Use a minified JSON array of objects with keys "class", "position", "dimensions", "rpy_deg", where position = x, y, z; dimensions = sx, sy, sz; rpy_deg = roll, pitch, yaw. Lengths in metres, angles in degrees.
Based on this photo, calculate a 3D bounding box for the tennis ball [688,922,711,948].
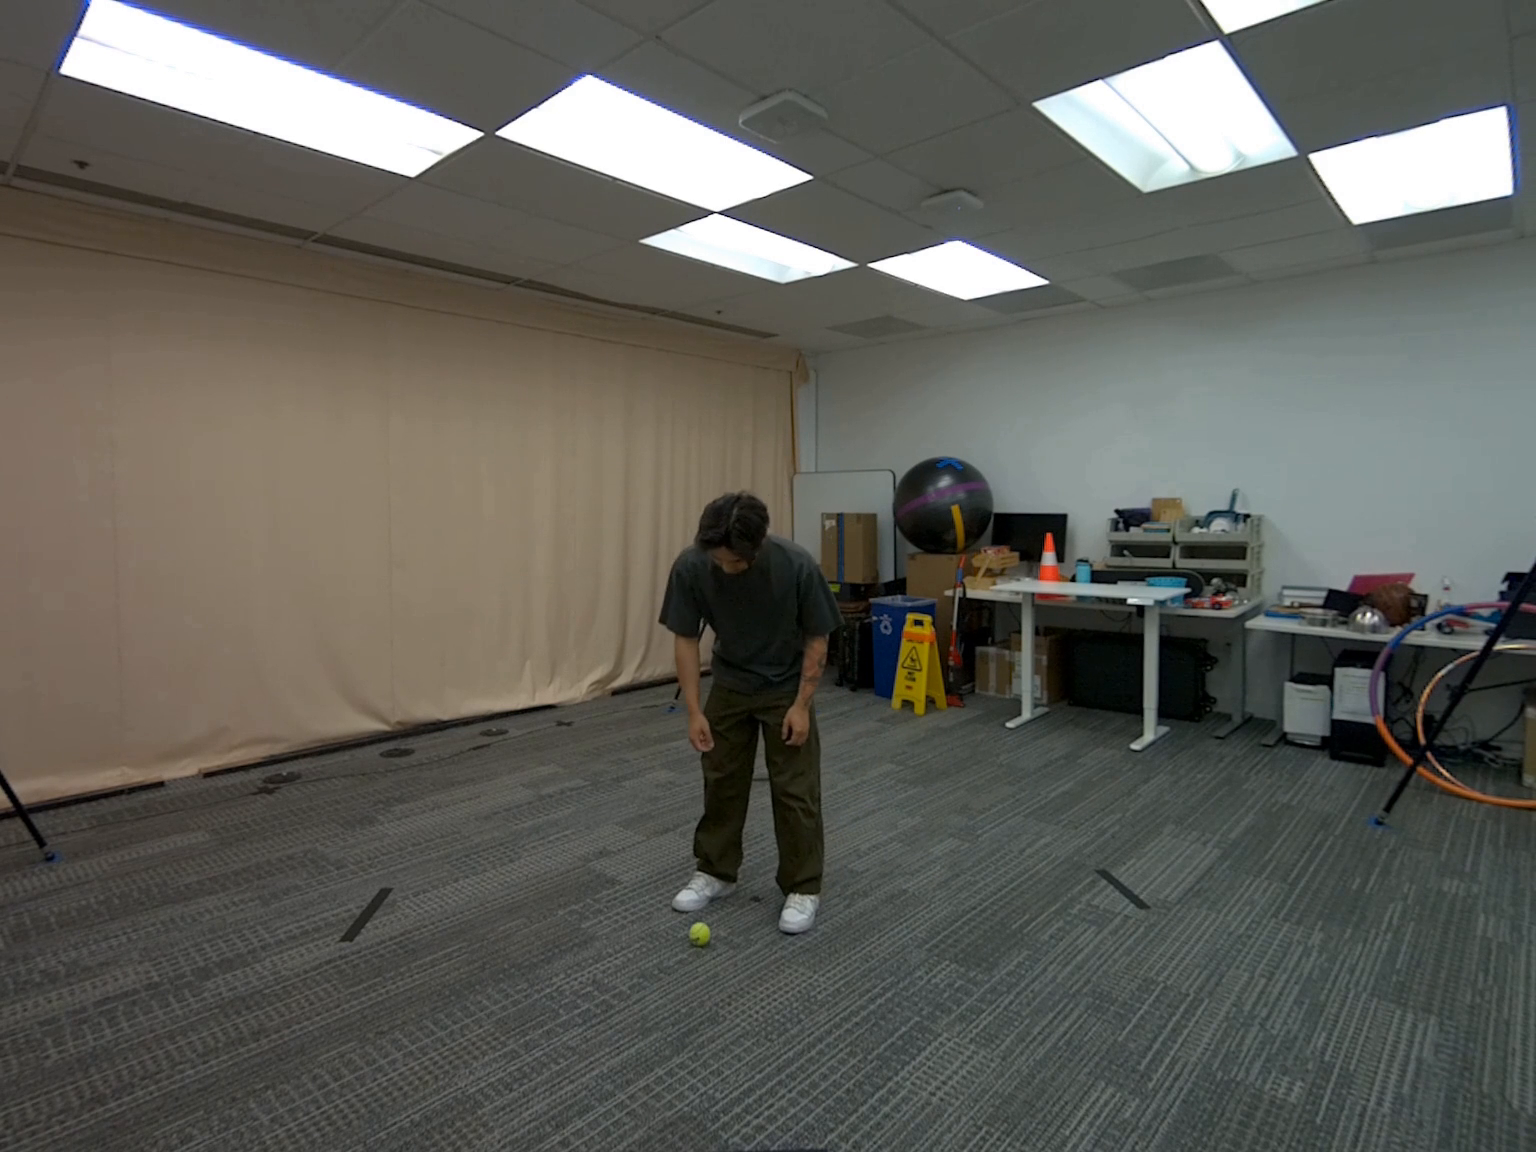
[{"class":"tennis ball","position":[-0.215,1.119,2.675],"dimensions":[0.066,0.066,0.067],"rpy_deg":[0,4,-2]}]
